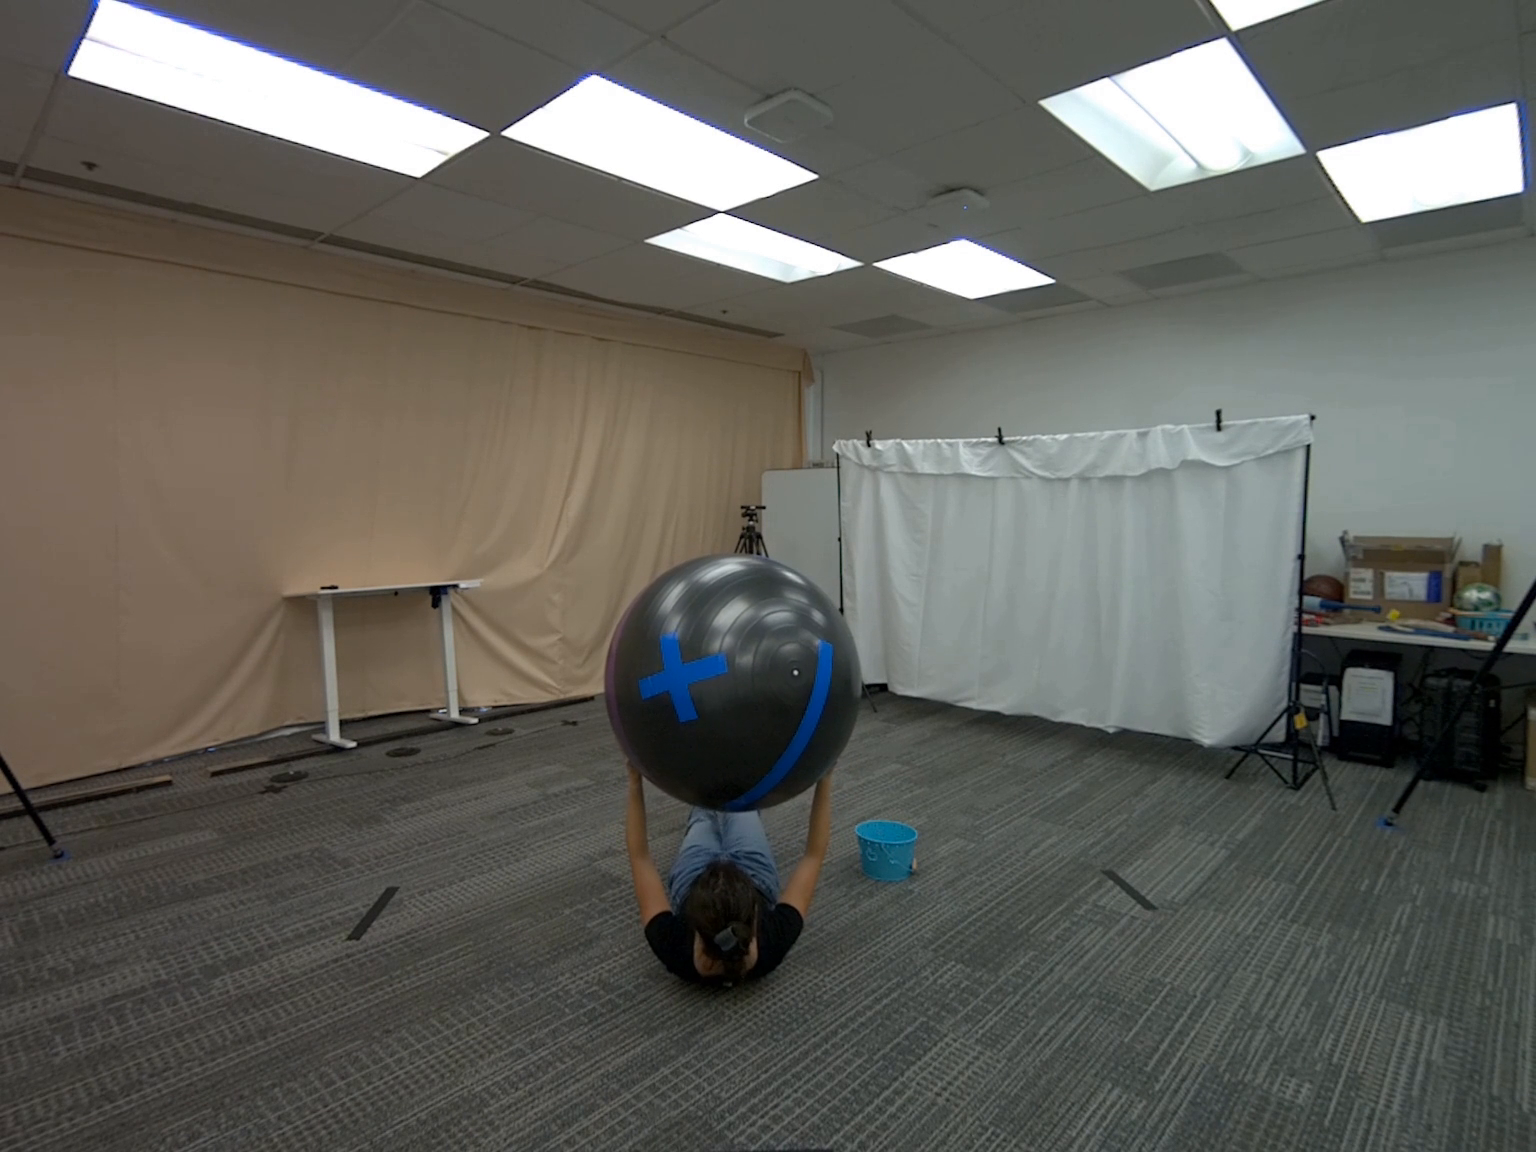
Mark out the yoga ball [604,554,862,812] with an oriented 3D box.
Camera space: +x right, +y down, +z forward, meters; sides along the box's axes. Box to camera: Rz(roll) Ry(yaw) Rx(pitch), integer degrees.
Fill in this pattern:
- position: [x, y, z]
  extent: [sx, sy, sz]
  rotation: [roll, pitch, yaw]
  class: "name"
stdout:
- position: [-0.103, 0.315, 2.512]
  extent: [0.757, 0.756, 0.760]
  rotation: [0, 4, -2]
  class: "yoga ball"
